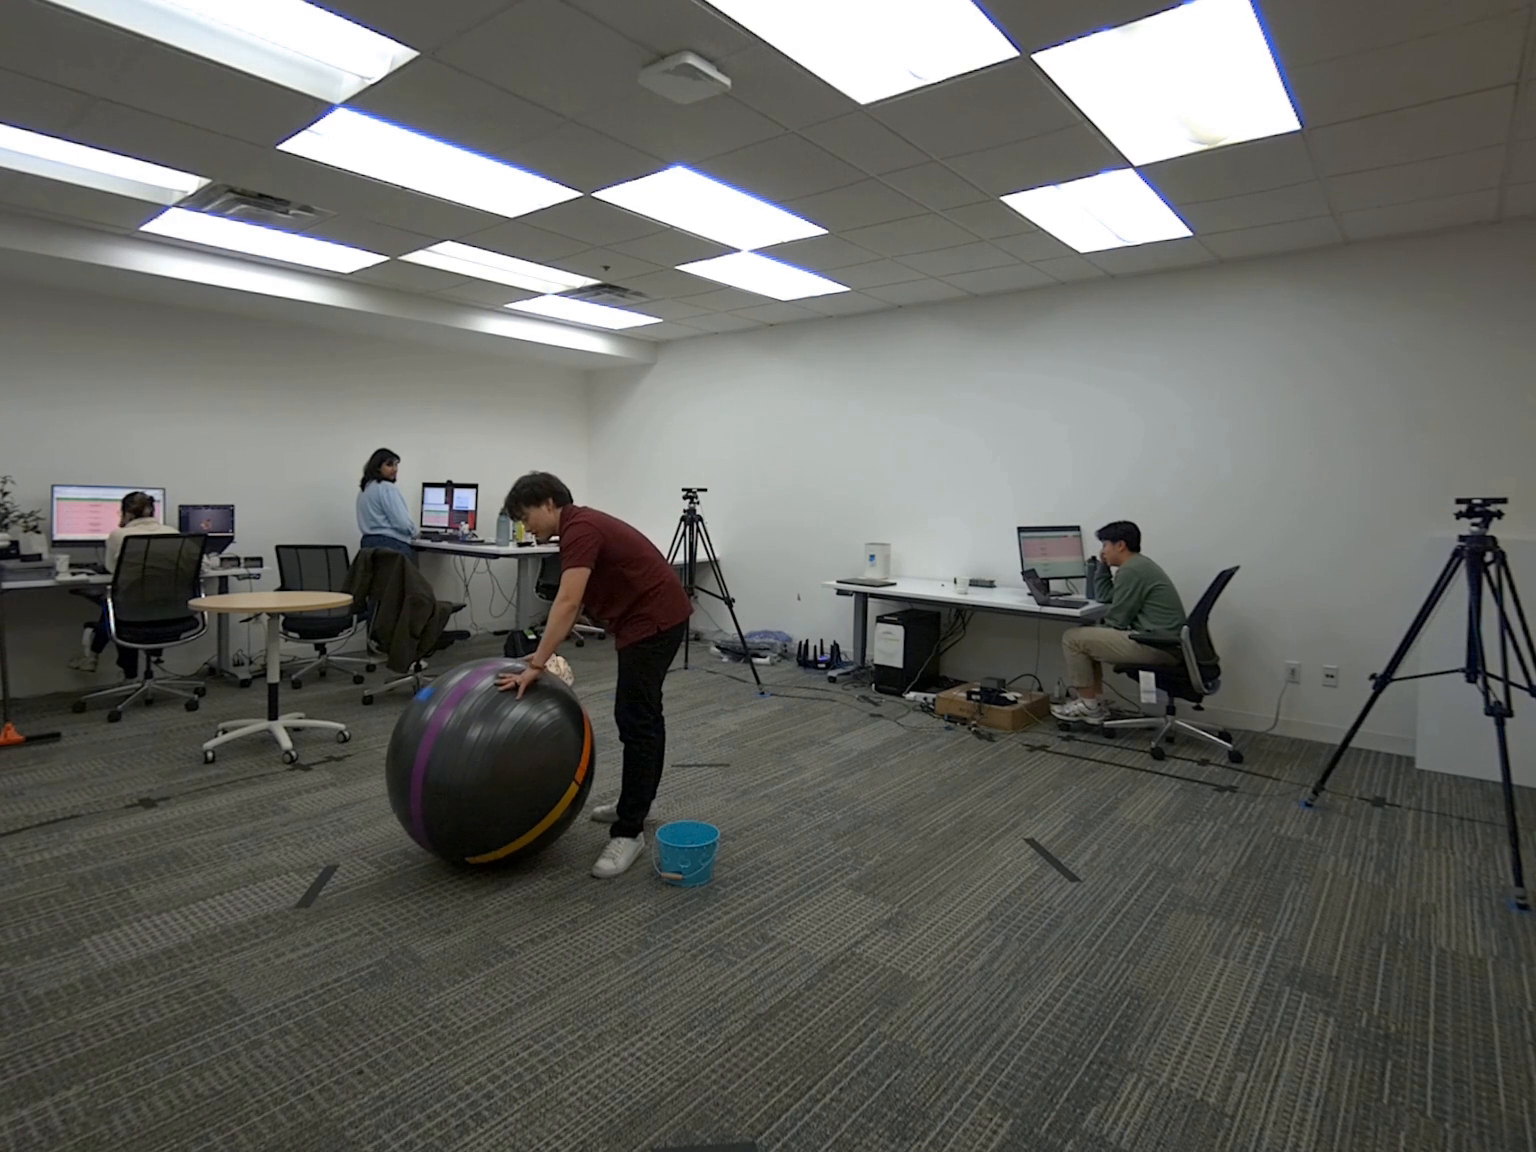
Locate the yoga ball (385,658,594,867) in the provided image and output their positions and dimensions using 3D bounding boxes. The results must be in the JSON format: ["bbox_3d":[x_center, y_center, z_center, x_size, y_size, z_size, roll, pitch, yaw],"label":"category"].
[{"bbox_3d":[-1.053,0.694,3.184,0.757,0.755,0.762,1,4,-2],"label":"yoga ball"}]
